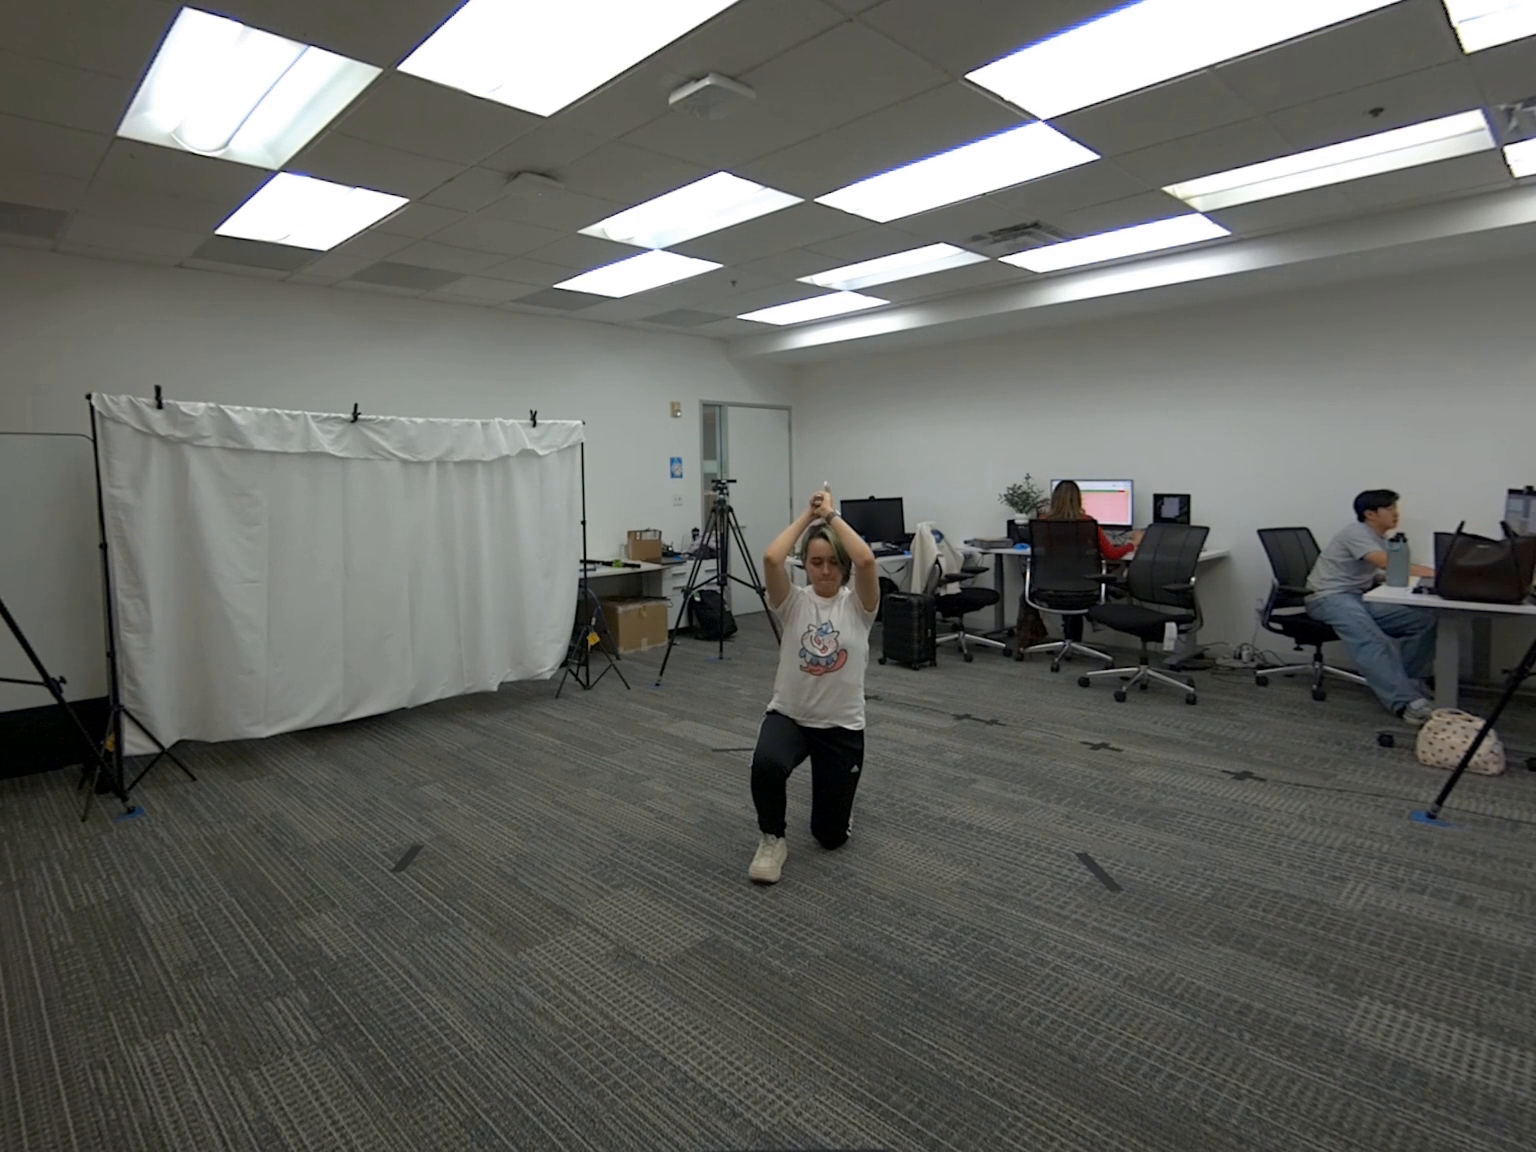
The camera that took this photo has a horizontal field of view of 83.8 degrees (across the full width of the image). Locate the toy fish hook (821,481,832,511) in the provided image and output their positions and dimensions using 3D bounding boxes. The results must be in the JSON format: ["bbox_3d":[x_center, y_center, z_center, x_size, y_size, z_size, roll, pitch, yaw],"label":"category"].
[{"bbox_3d":[0.230,-0.295,3.327,0.049,0.227,0.497,-5,-11,8],"label":"toy fish hook"}]
